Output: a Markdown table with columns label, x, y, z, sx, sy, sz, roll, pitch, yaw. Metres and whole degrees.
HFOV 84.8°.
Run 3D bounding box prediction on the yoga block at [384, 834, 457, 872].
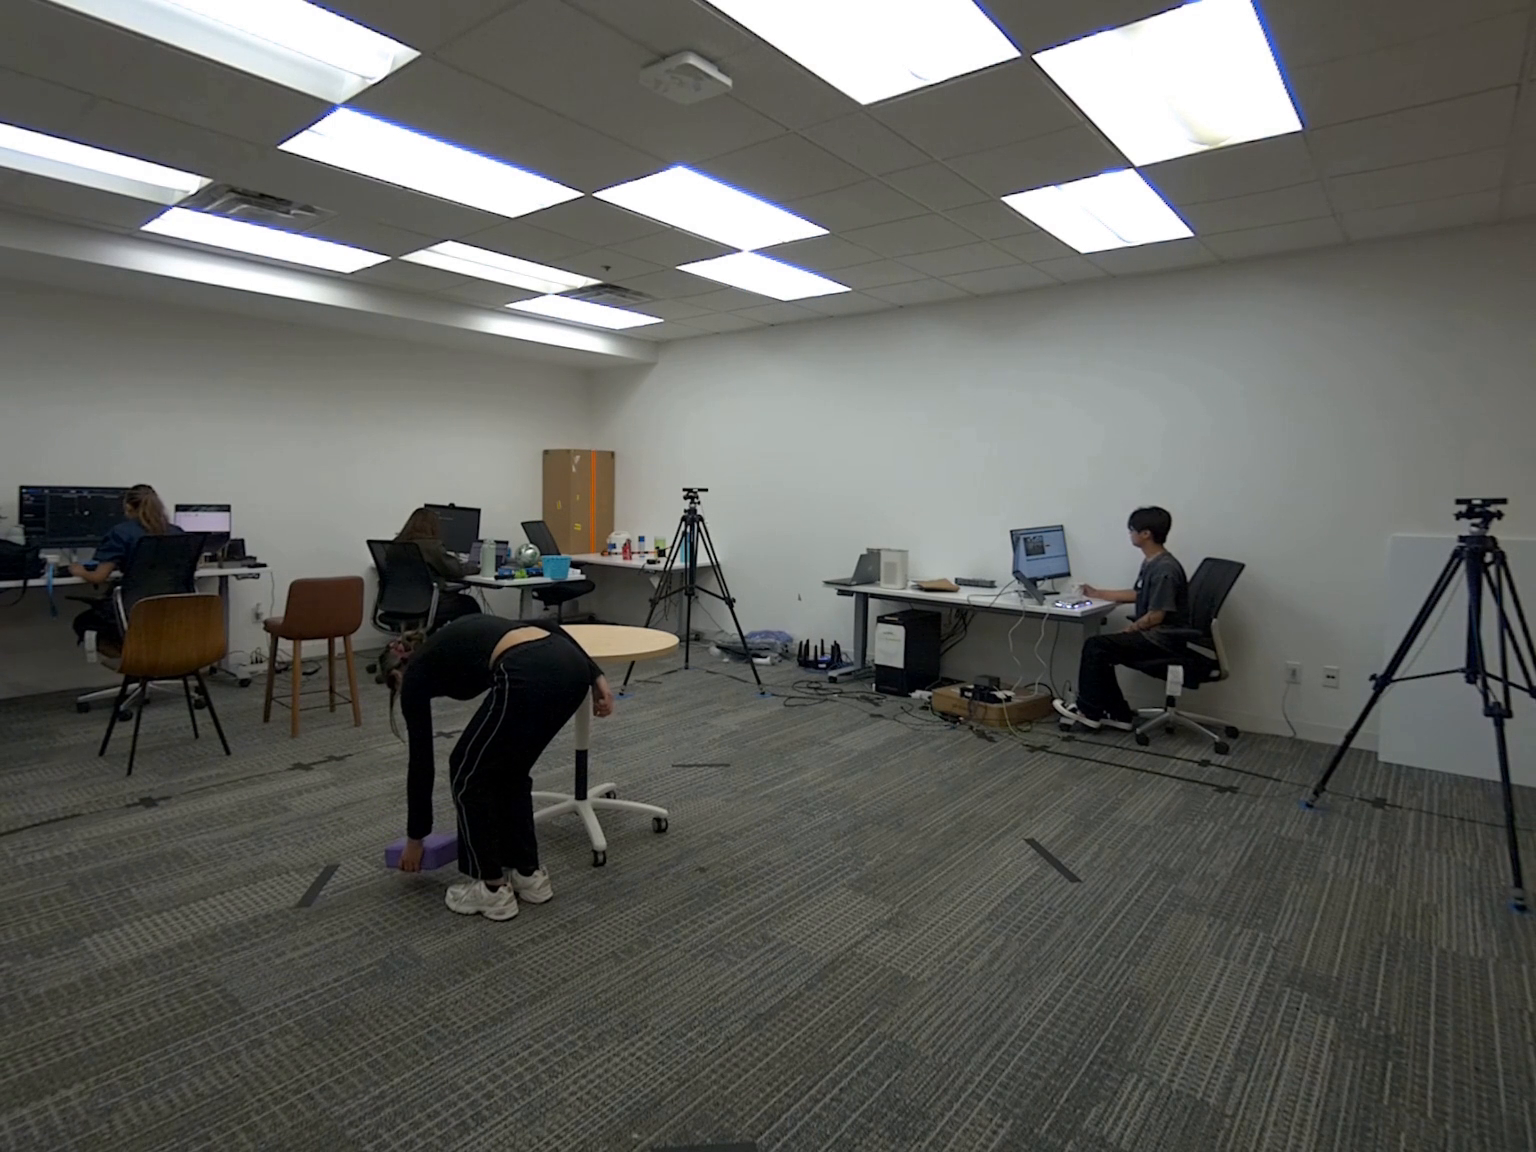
| label | x | y | z | sx | sy | sz | roll | pitch | yaw |
| --- | --- | --- | --- | --- | --- | --- | --- | --- | --- |
| yoga block | -1.210 | 0.956 | 2.950 | 0.234 | 0.076 | 0.145 | -7 | -1 | 23 |
